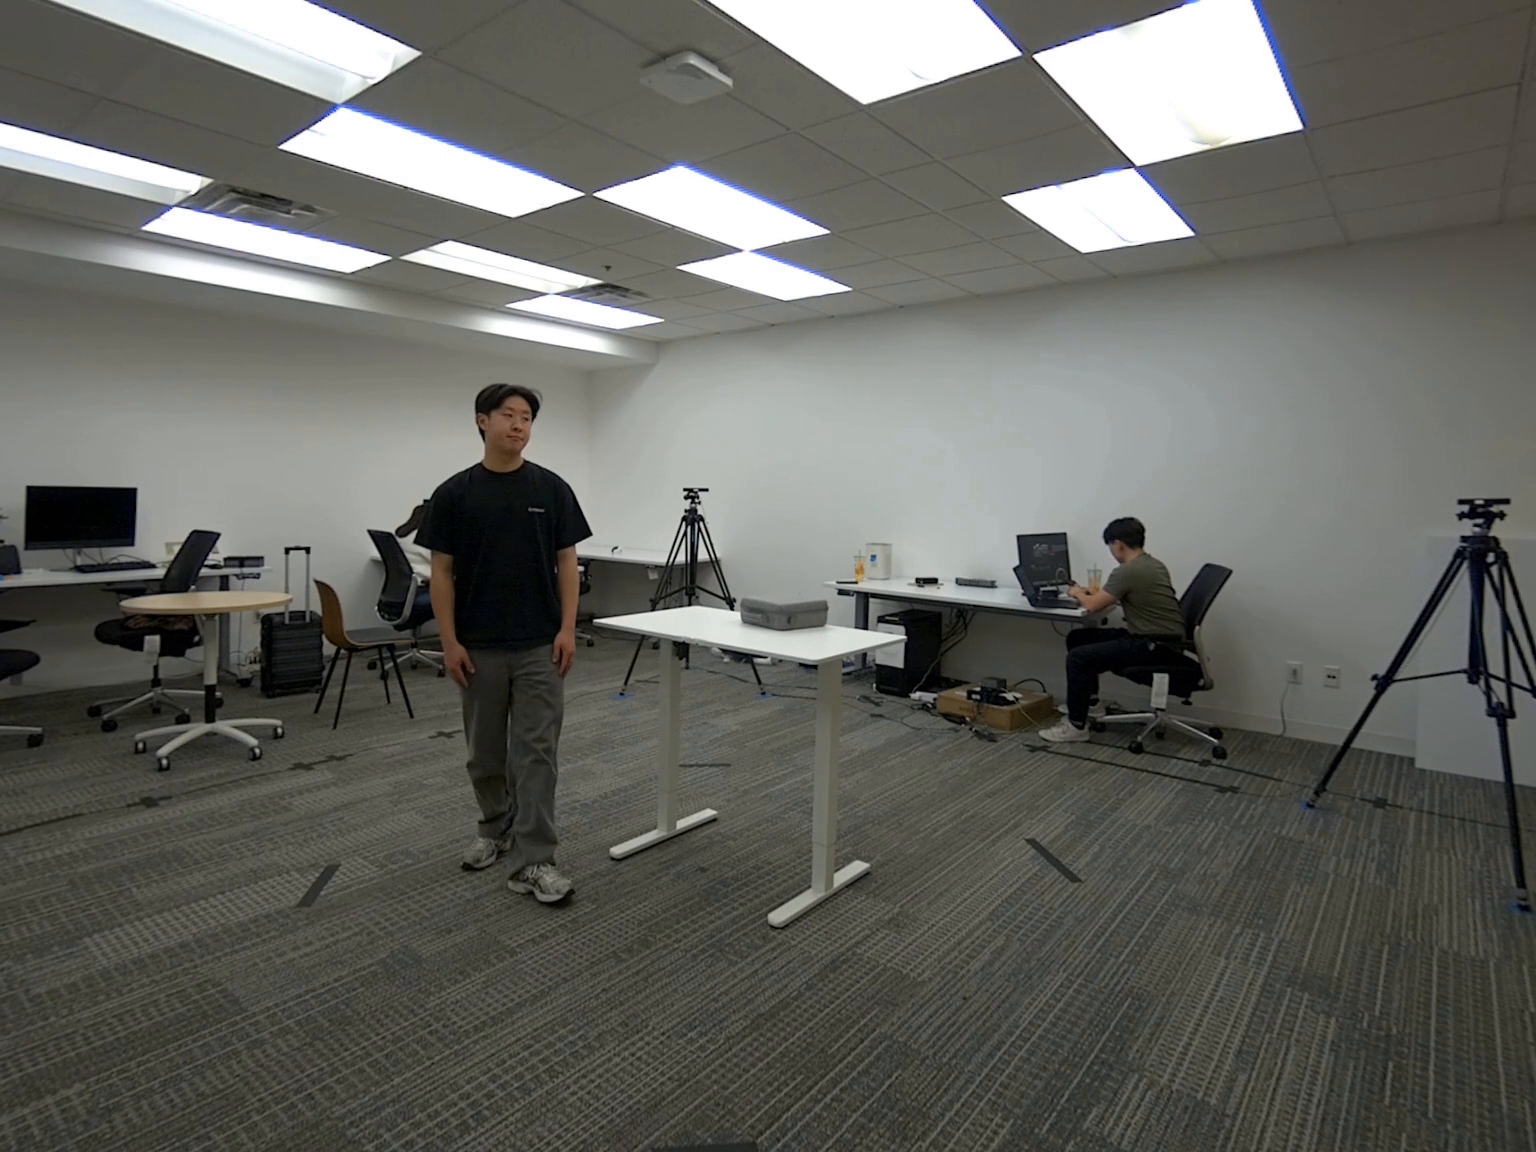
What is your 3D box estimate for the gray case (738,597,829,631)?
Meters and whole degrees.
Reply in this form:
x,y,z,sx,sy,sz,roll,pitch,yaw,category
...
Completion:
x,y,z,sx,sy,sz,roll,pitch,yaw,category
0.053,0.129,3.219,0.253,0.104,0.266,-4,8,-38,gray case
